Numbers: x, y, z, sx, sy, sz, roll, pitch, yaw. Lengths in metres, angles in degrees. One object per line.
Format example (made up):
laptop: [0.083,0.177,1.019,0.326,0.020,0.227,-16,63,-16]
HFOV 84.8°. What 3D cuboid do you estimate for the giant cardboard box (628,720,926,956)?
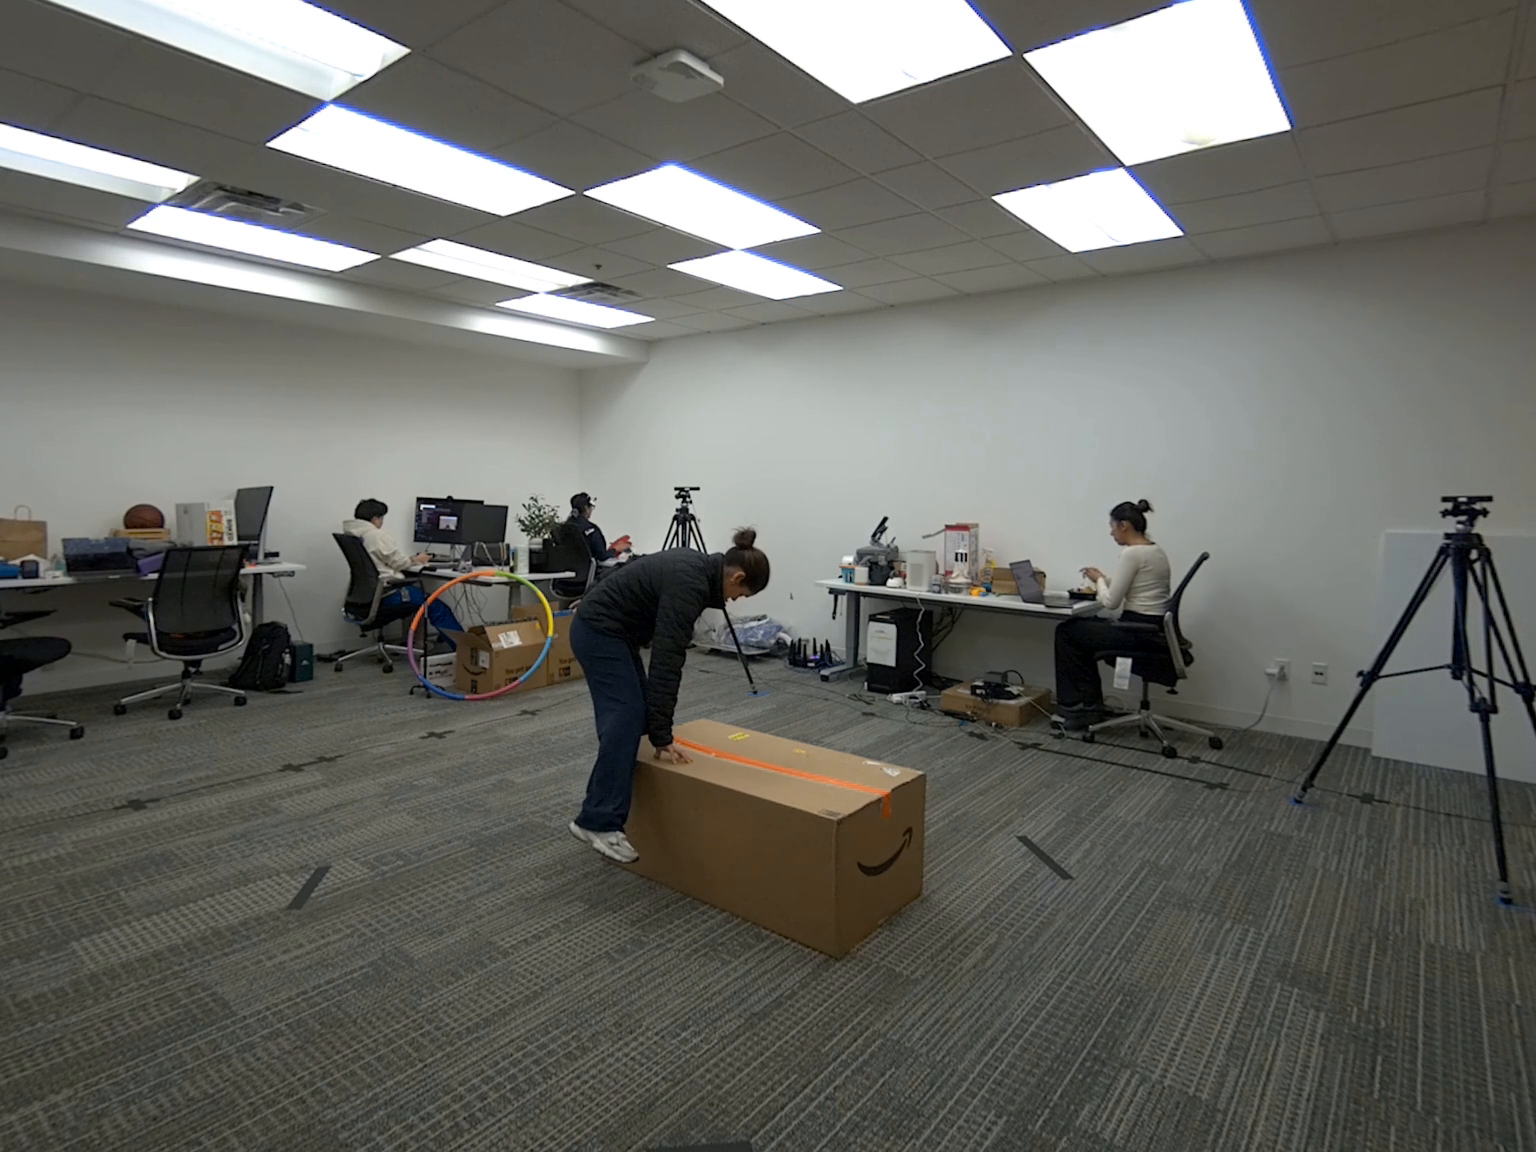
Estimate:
giant cardboard box: [-0.020,0.867,3.059,1.062,0.445,0.567,6,8,39]
